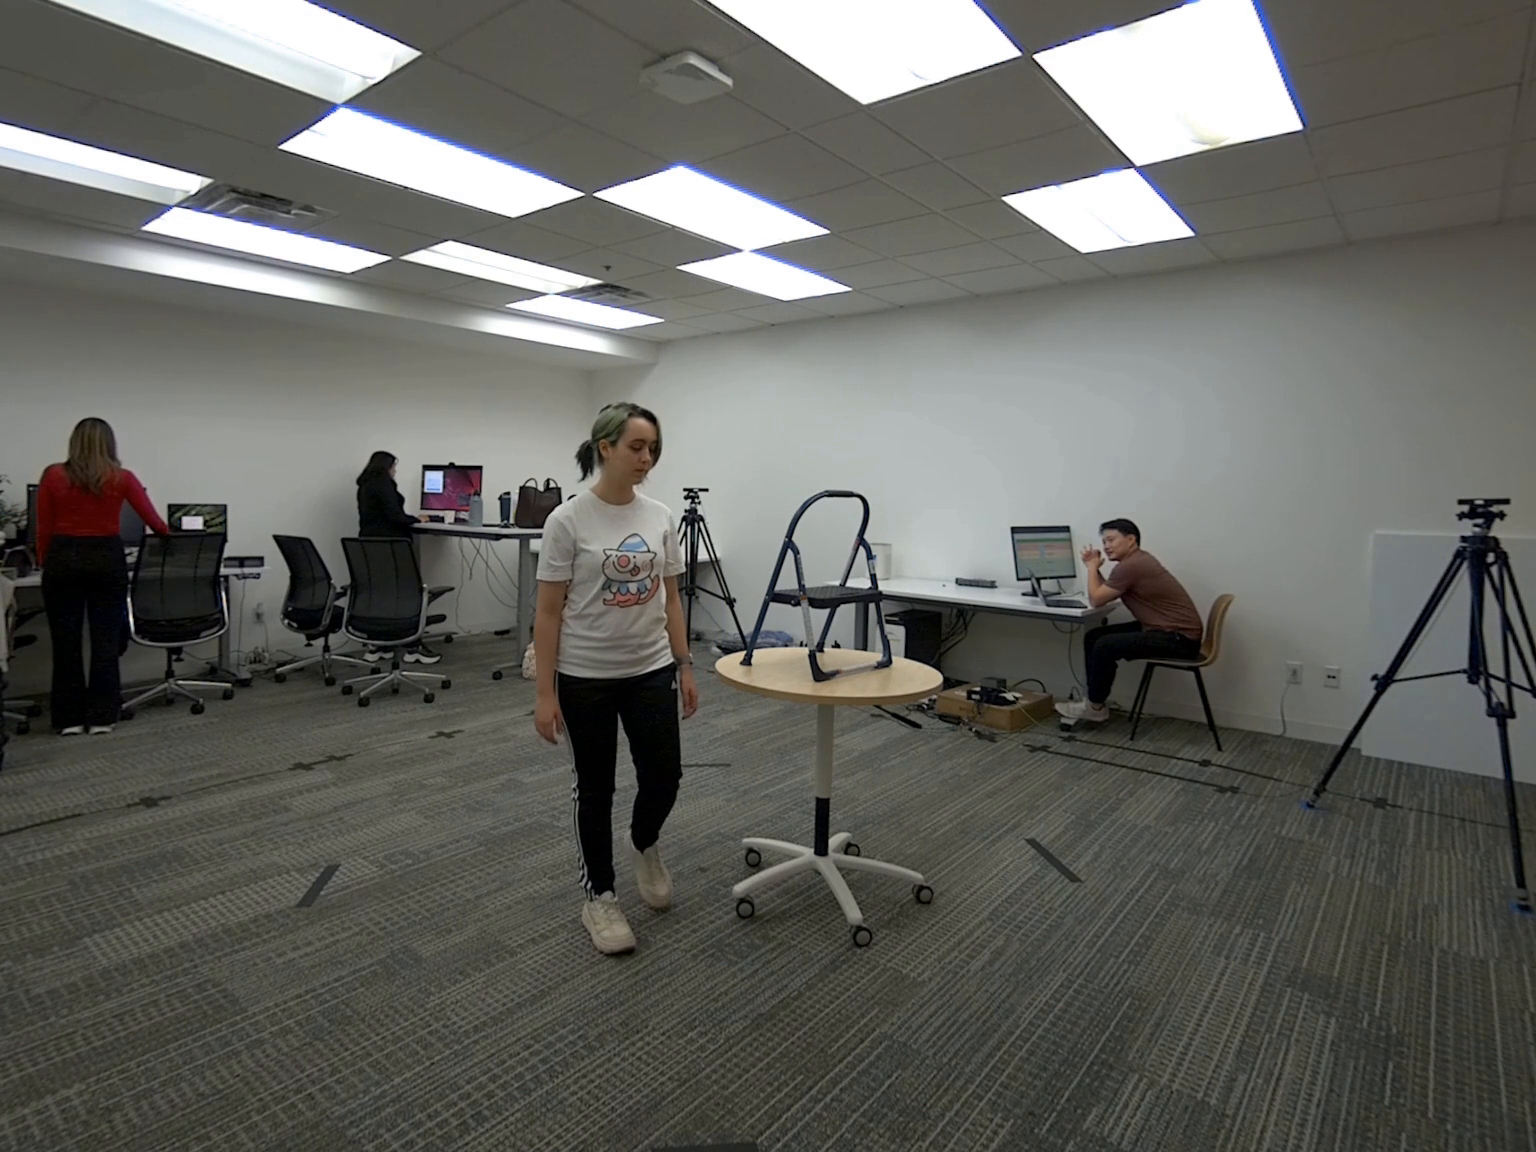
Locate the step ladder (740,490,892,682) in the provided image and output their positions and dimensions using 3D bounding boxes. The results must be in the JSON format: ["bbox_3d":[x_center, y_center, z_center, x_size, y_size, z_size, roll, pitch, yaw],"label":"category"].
[{"bbox_3d":[0.172,0.007,2.938,0.361,0.604,0.417,5,5,44],"label":"step ladder"}]
